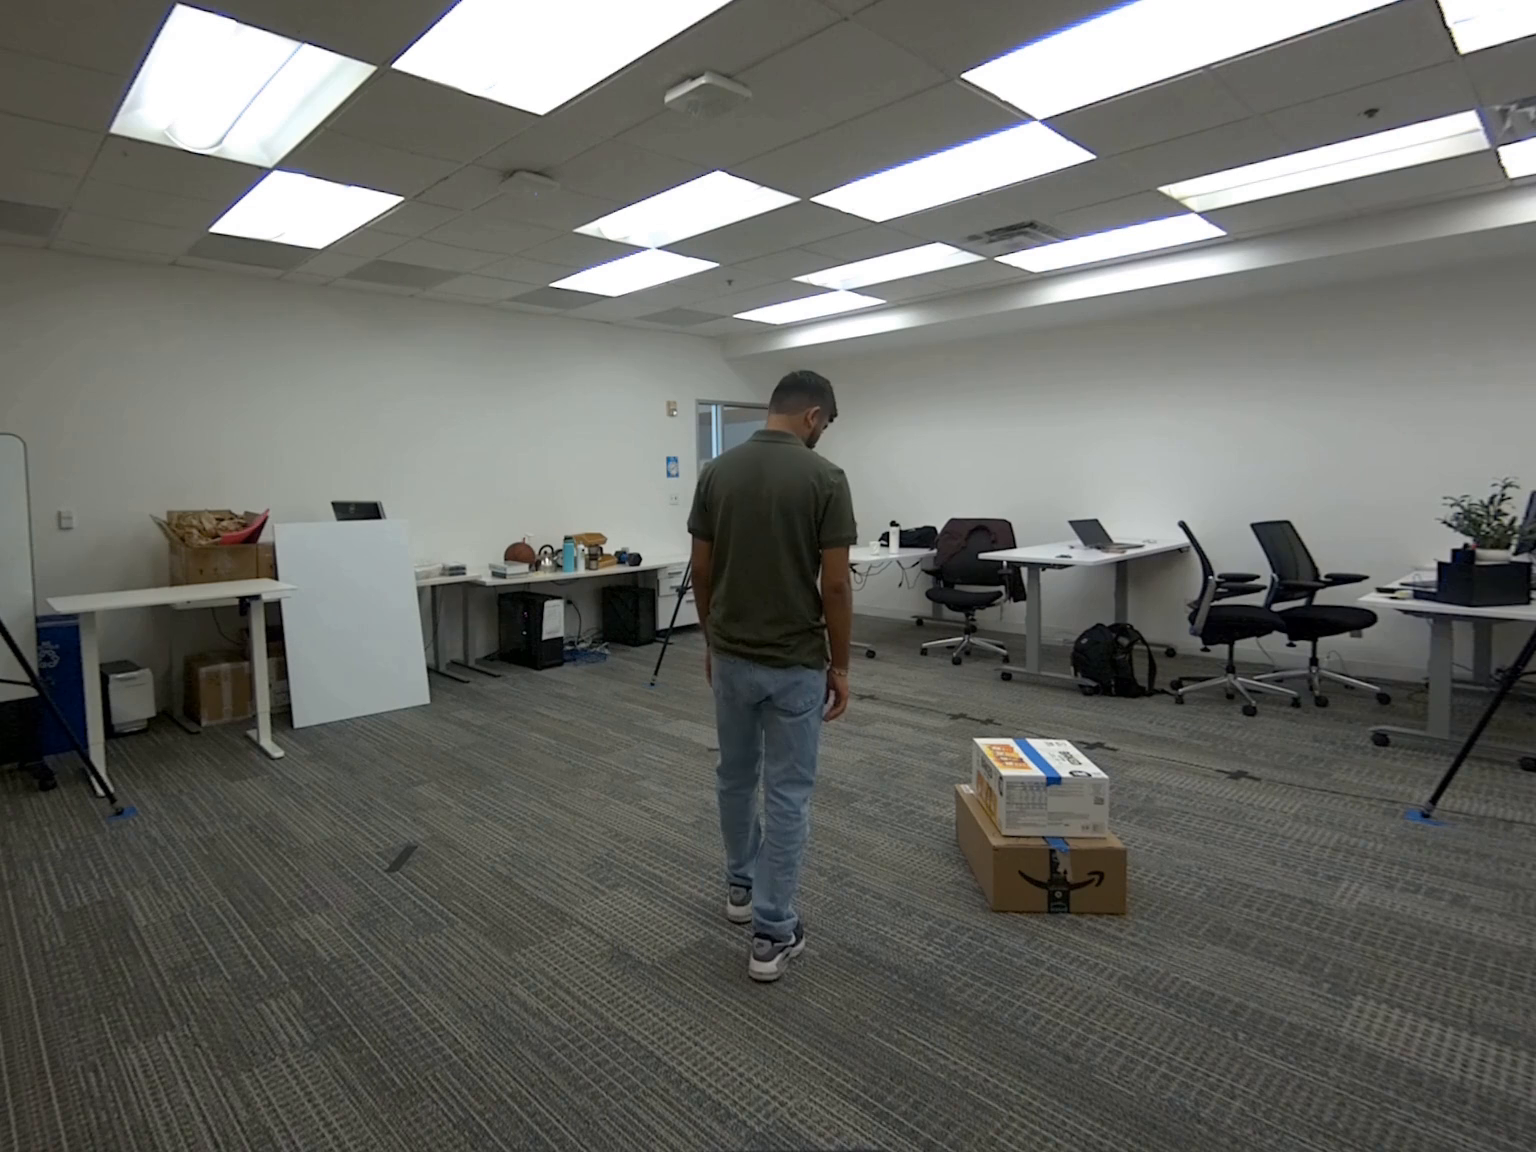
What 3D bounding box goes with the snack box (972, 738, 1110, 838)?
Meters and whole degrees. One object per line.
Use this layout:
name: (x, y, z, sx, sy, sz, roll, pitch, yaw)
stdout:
snack box: (0.934, 0.725, 2.966, 0.341, 0.205, 0.406, 0, 6, 1)
